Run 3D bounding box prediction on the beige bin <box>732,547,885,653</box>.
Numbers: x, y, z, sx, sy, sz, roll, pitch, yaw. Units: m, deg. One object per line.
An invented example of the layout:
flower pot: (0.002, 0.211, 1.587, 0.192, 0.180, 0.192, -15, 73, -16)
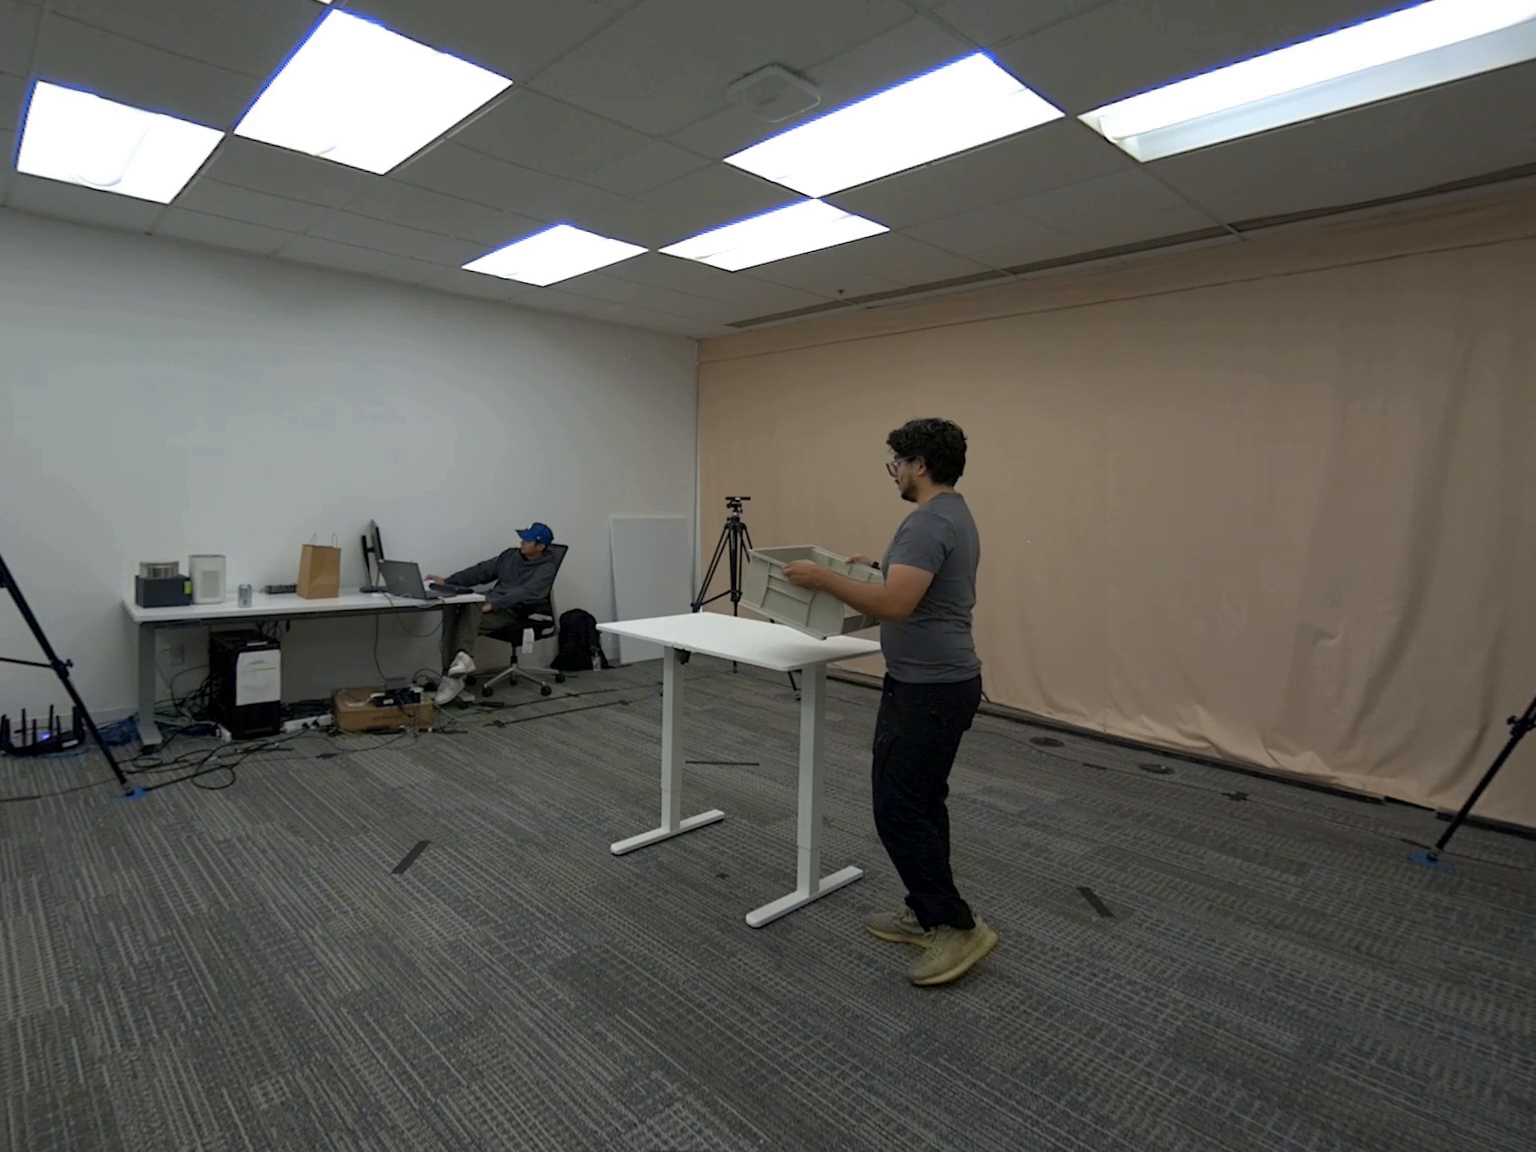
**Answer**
beige bin: (0.173, 0.059, 2.724, 0.387, 0.188, 0.414, 20, 14, 31)
